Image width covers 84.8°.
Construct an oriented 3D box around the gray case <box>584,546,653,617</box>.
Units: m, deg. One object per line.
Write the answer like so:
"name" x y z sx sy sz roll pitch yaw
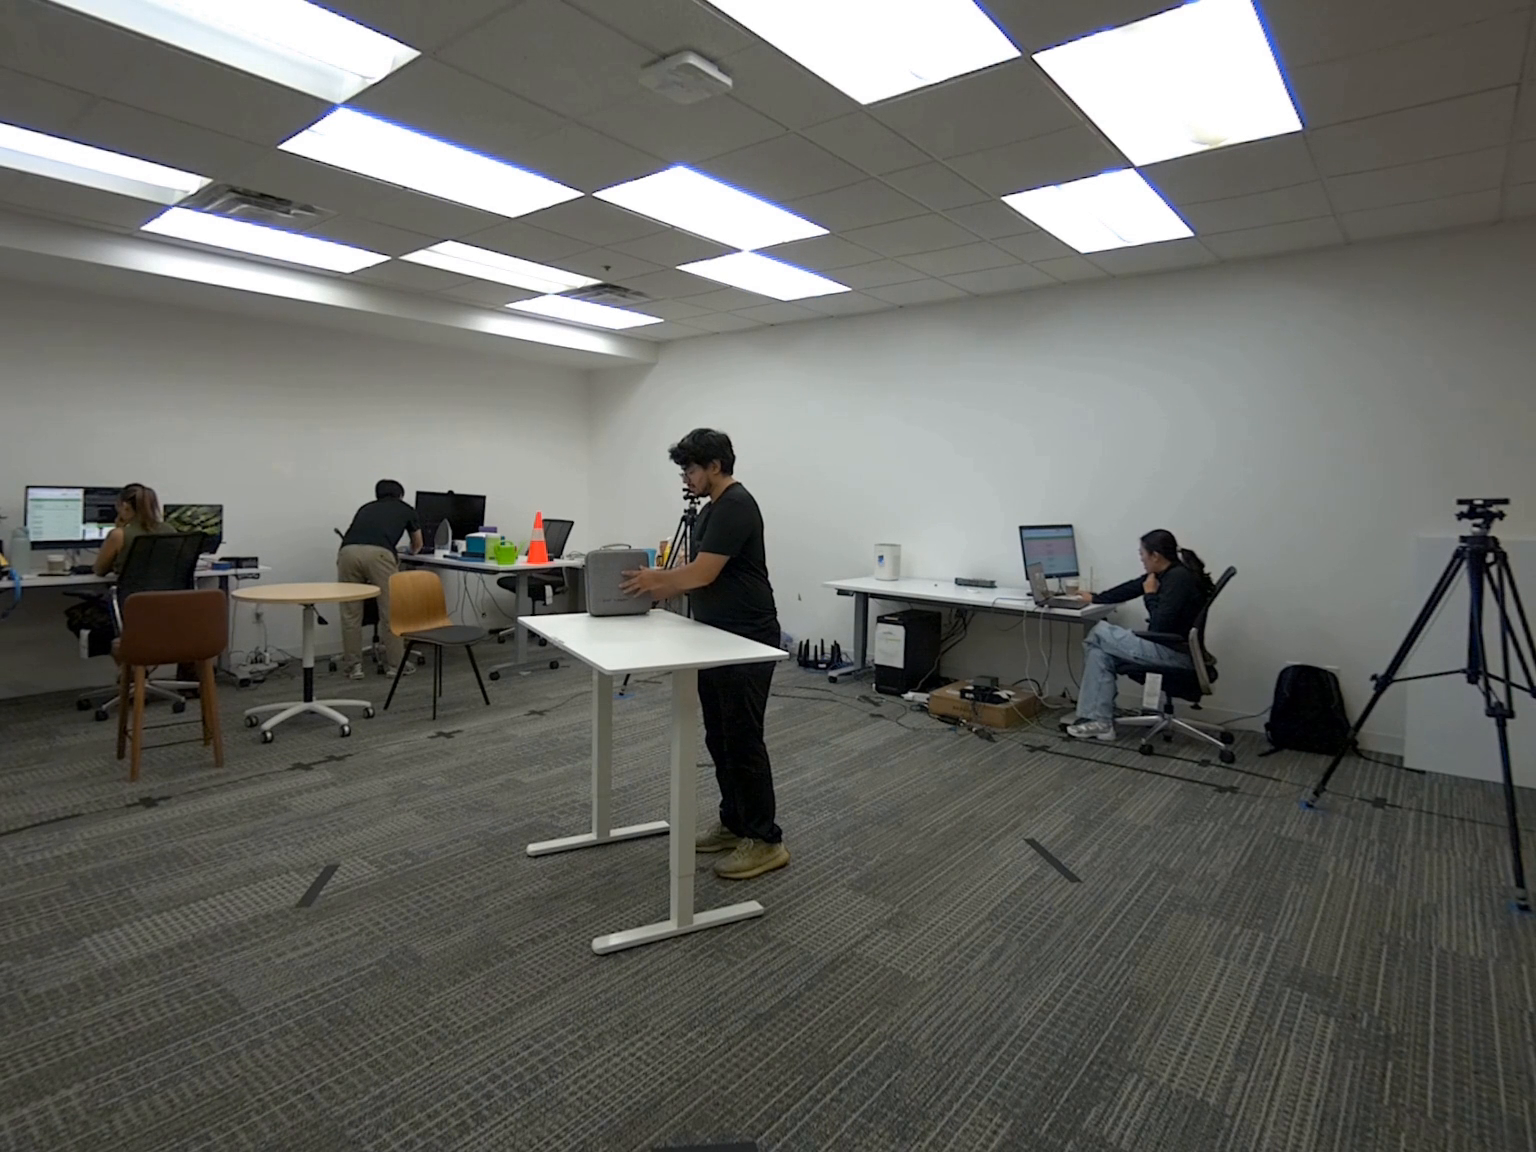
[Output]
"gray case" -0.607 0.025 3.378 0.251 0.262 0.106 -1 -5 -22
